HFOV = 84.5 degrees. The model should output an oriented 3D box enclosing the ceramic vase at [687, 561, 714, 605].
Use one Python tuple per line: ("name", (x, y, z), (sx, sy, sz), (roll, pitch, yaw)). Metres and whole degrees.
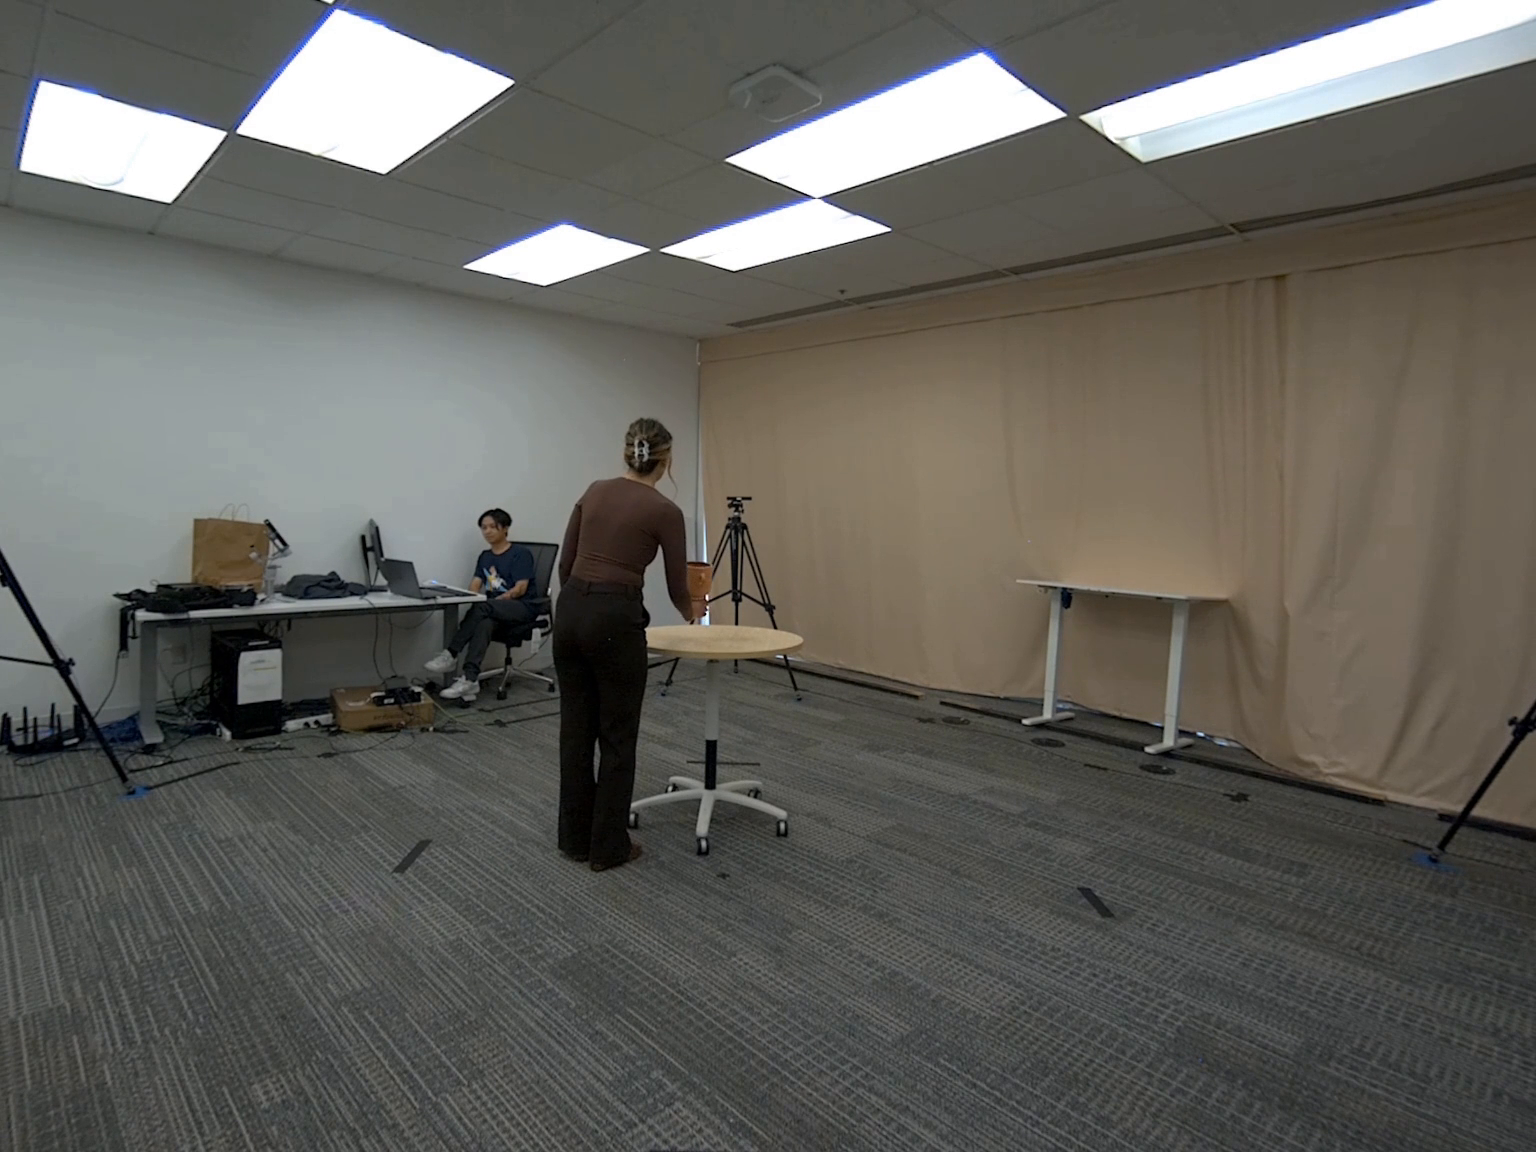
("ceramic vase", (-0.310, 0.060, 3.516), (0.137, 0.218, 0.157), (8, 10, 17))
